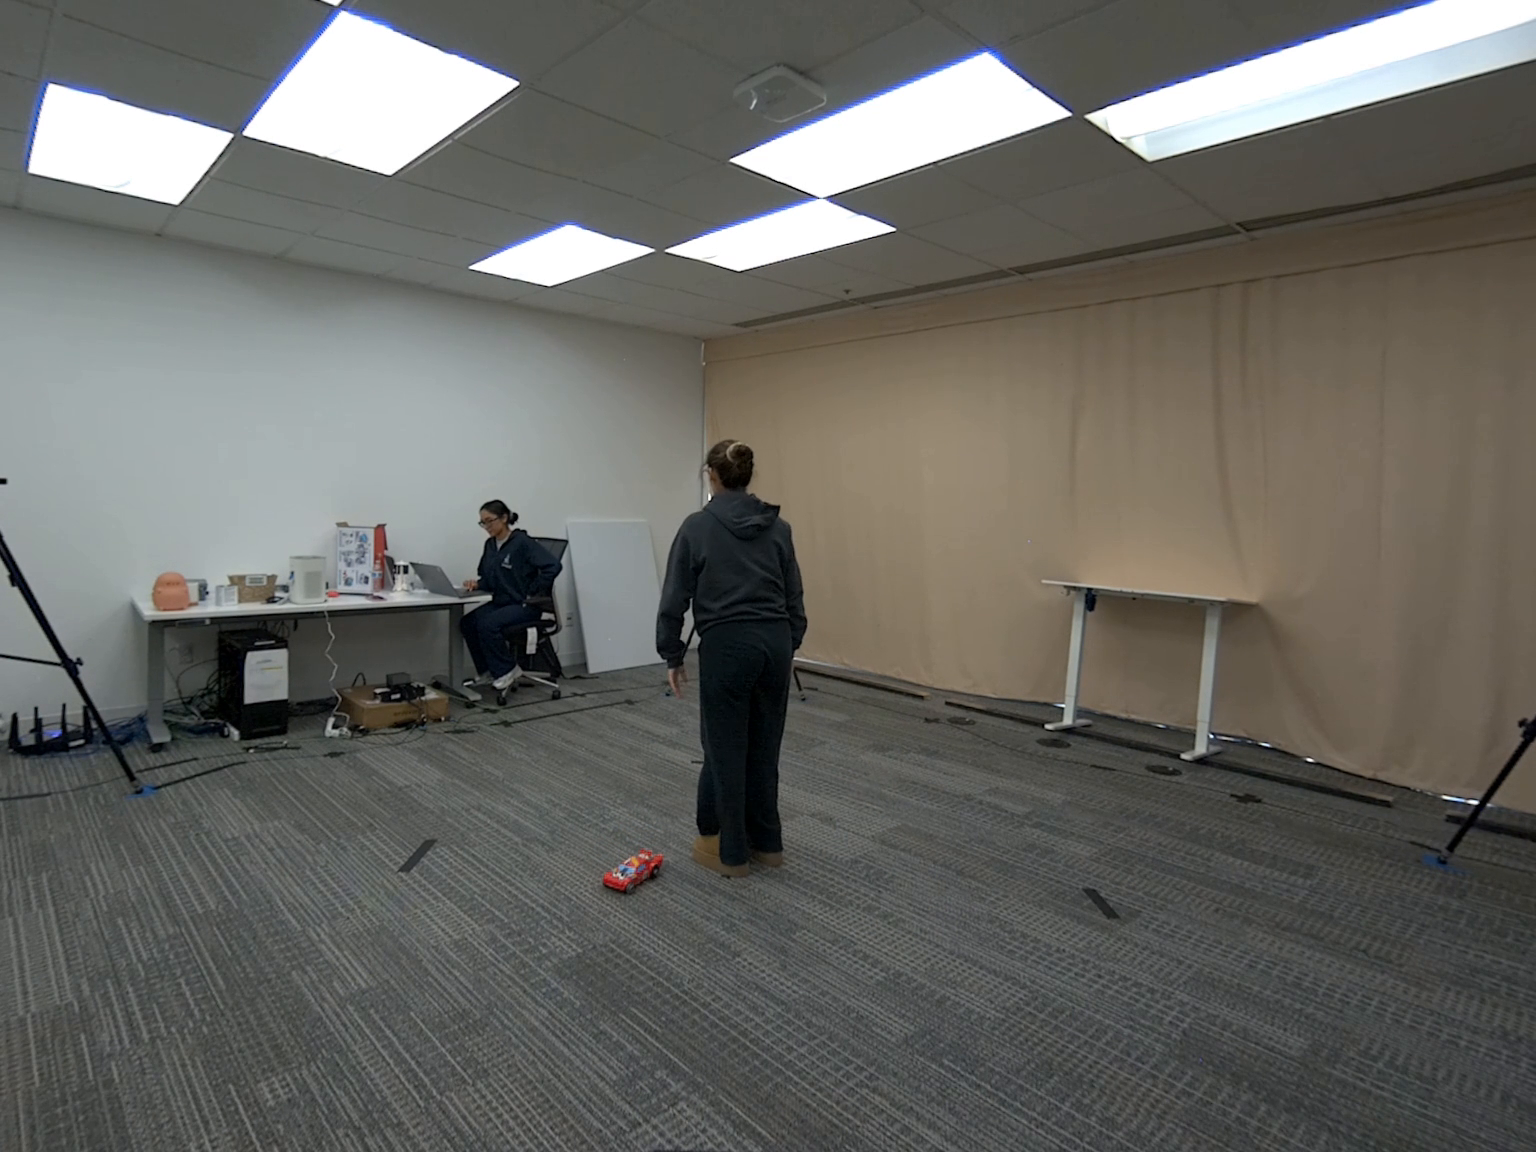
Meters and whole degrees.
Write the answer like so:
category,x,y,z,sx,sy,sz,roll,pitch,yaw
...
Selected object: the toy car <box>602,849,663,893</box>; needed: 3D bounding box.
category,x,y,z,sx,sy,sz,roll,pitch,yaw
toy car,-0.495,1.077,3.059,0.133,0.082,0.251,4,16,30
